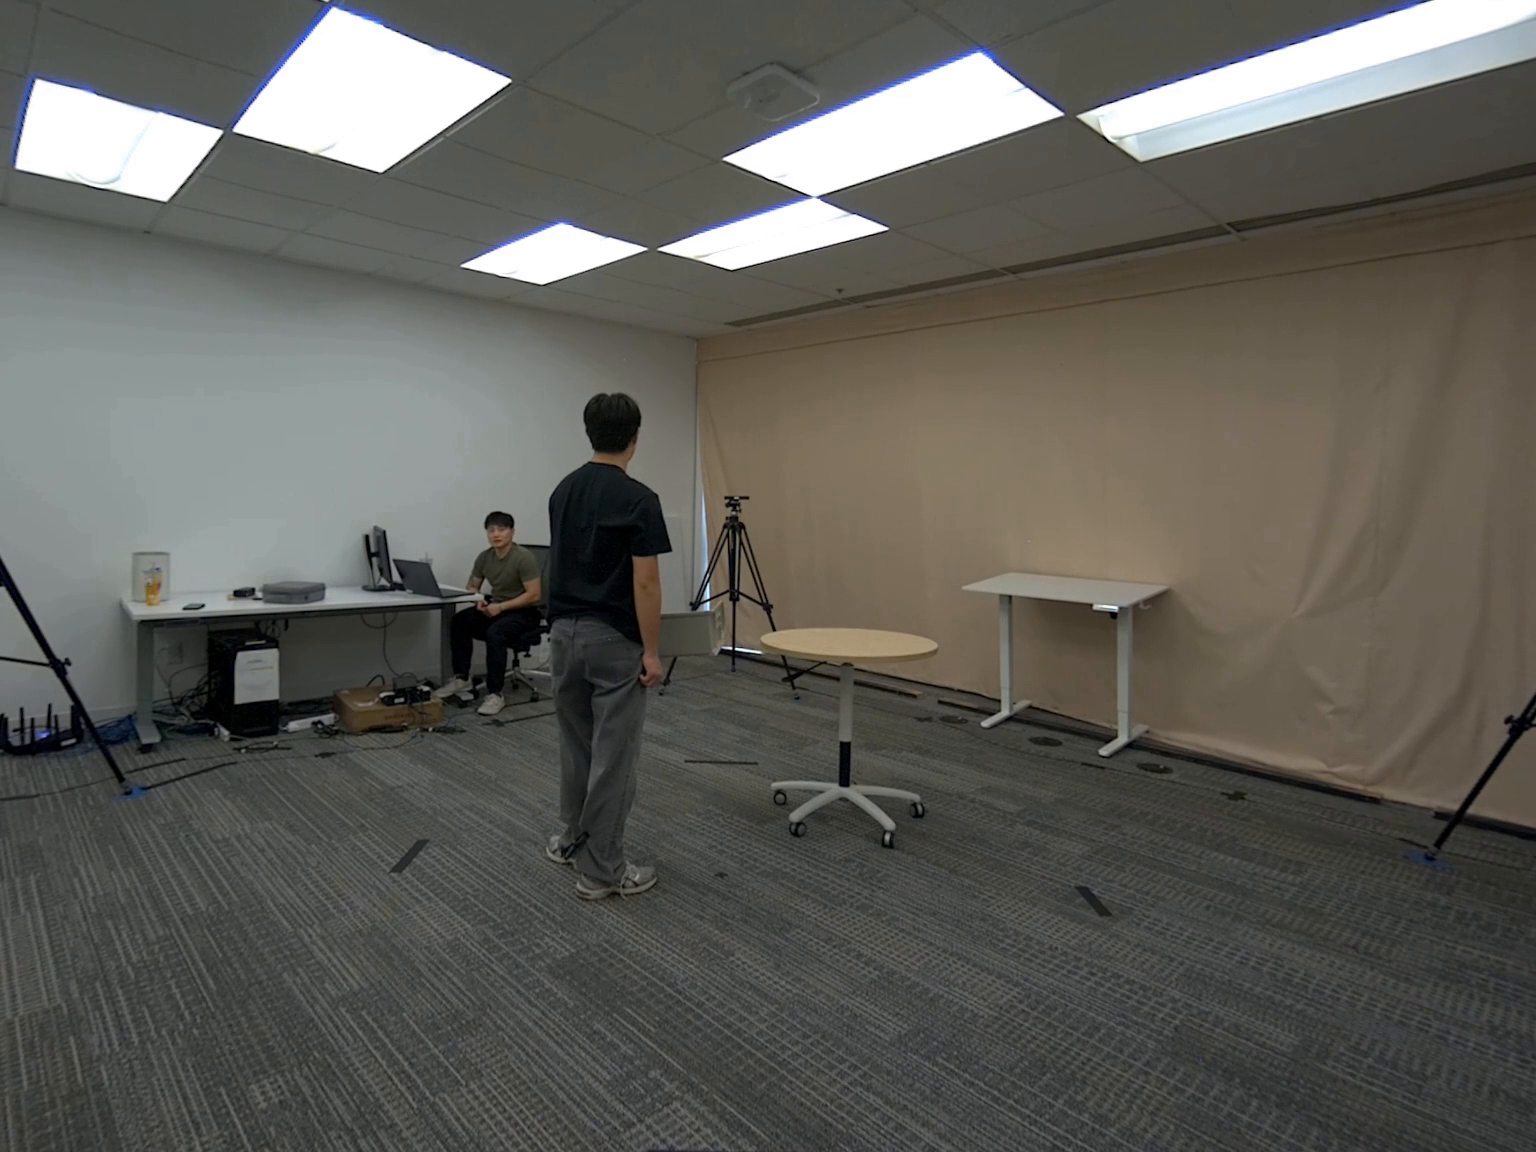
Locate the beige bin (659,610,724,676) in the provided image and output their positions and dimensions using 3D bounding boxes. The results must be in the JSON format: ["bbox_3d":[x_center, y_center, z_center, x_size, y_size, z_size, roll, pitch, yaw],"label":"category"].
[{"bbox_3d":[-0.403,0.221,3.435,0.425,0.188,0.377,-4,7,7],"label":"beige bin"}]
